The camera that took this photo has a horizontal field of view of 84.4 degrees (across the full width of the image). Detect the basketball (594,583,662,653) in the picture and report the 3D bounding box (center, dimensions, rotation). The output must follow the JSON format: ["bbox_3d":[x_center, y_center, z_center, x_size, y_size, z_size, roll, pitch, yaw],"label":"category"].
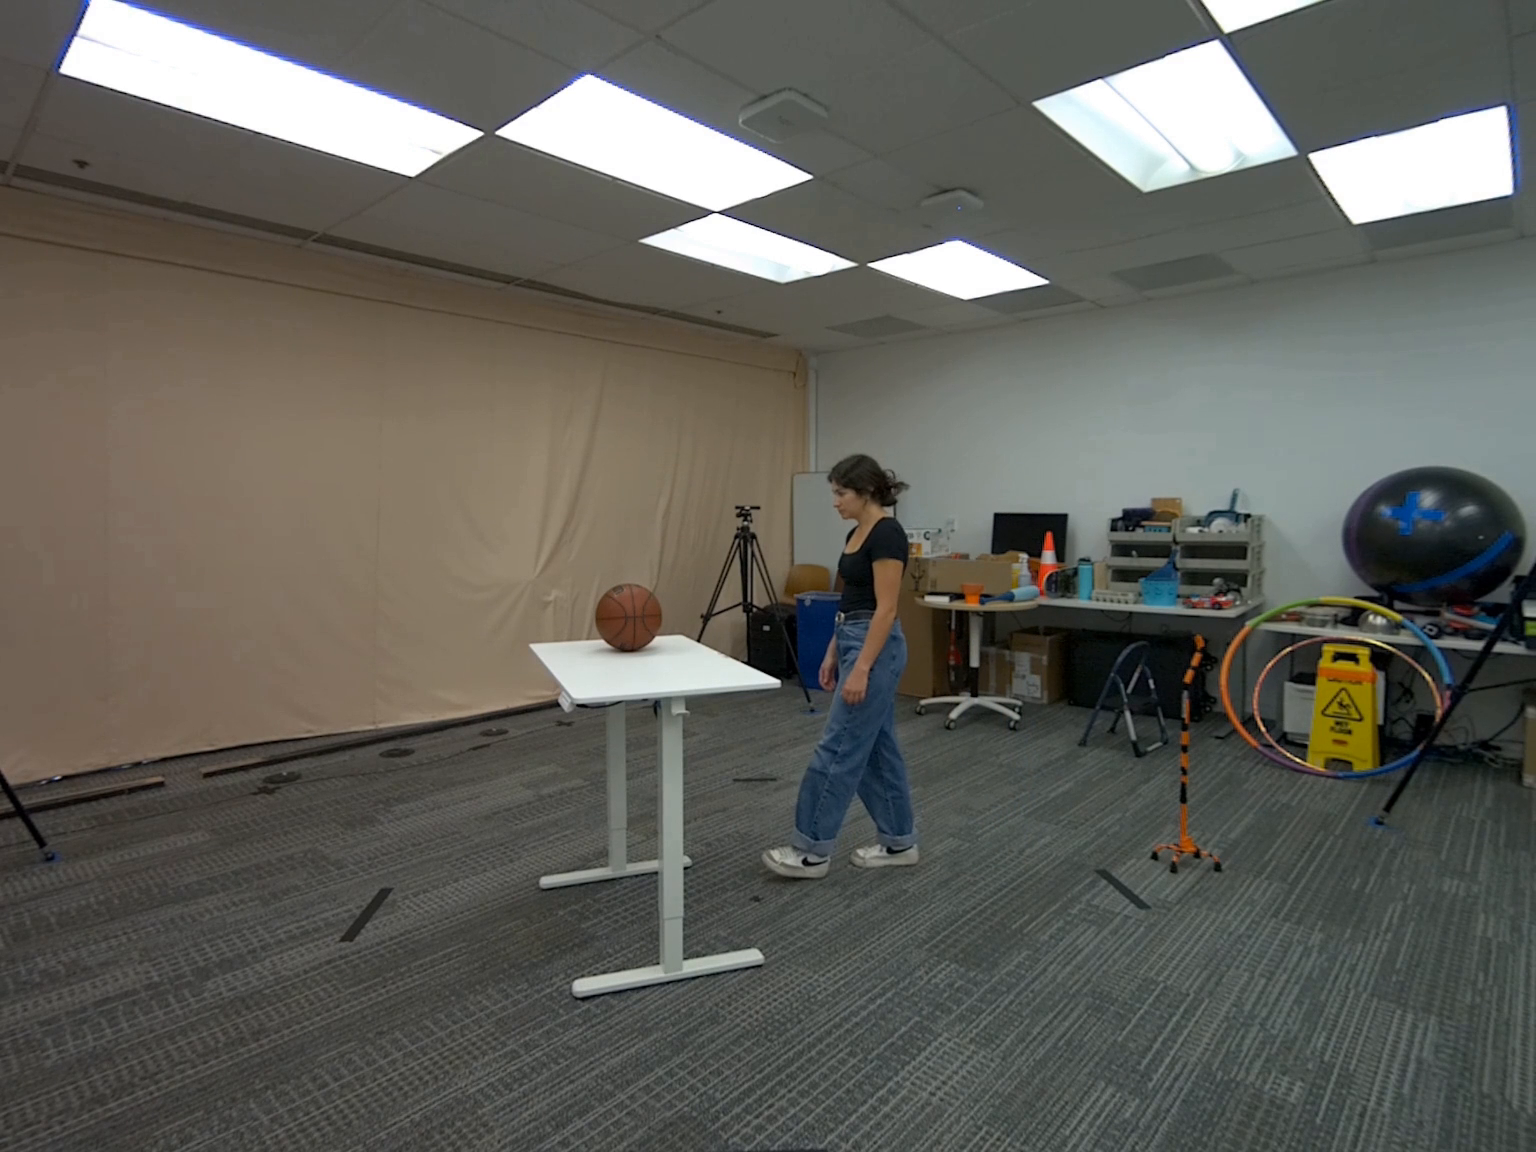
[{"bbox_3d":[-0.491,0.144,3.000,0.236,0.235,0.237,0,4,-2],"label":"basketball"}]
